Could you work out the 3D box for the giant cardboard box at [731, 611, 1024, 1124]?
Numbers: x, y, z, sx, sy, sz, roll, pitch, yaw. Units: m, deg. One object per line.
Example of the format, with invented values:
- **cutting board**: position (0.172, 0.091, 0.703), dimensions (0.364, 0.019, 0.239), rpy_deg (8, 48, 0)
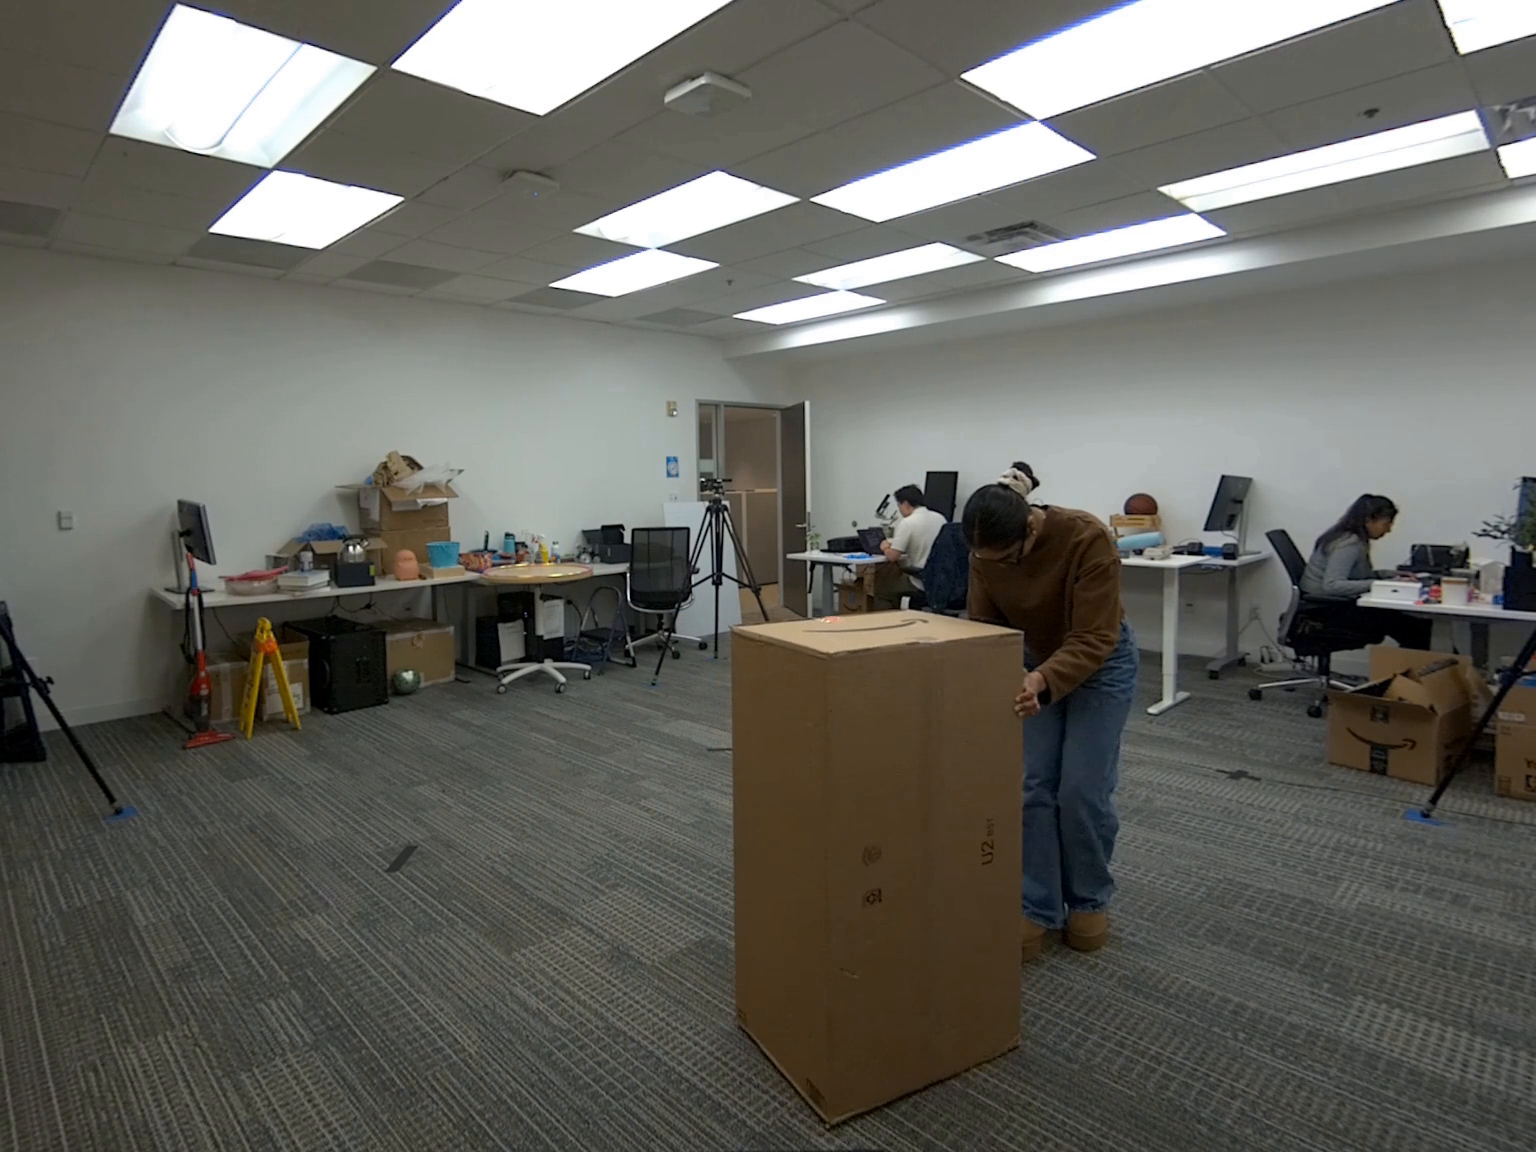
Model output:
- **giant cardboard box**: position (0.268, 0.640, 2.115), dimensions (0.564, 1.023, 0.438), rpy_deg (-2, 4, -29)
